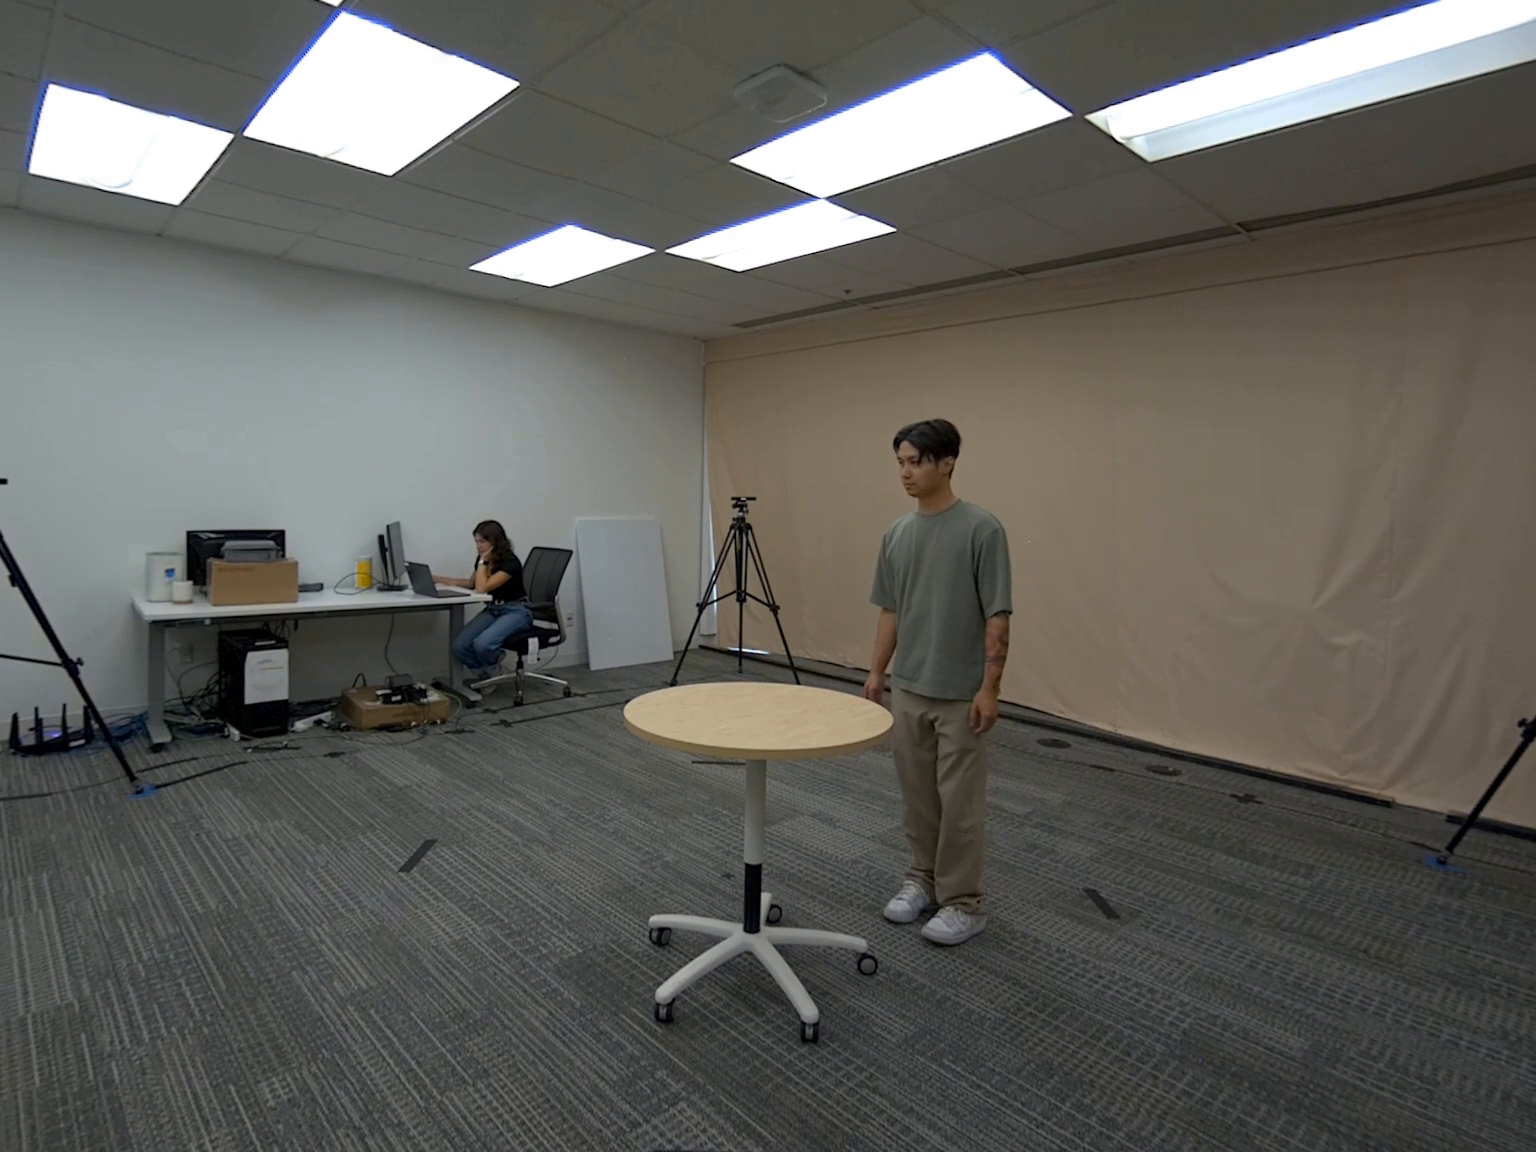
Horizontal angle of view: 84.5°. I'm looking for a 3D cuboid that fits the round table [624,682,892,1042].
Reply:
[{"bbox_3d":[-0.052,0.778,2.445,0.784,0.784,0.788,2,4,-1],"label":"round table"}]
